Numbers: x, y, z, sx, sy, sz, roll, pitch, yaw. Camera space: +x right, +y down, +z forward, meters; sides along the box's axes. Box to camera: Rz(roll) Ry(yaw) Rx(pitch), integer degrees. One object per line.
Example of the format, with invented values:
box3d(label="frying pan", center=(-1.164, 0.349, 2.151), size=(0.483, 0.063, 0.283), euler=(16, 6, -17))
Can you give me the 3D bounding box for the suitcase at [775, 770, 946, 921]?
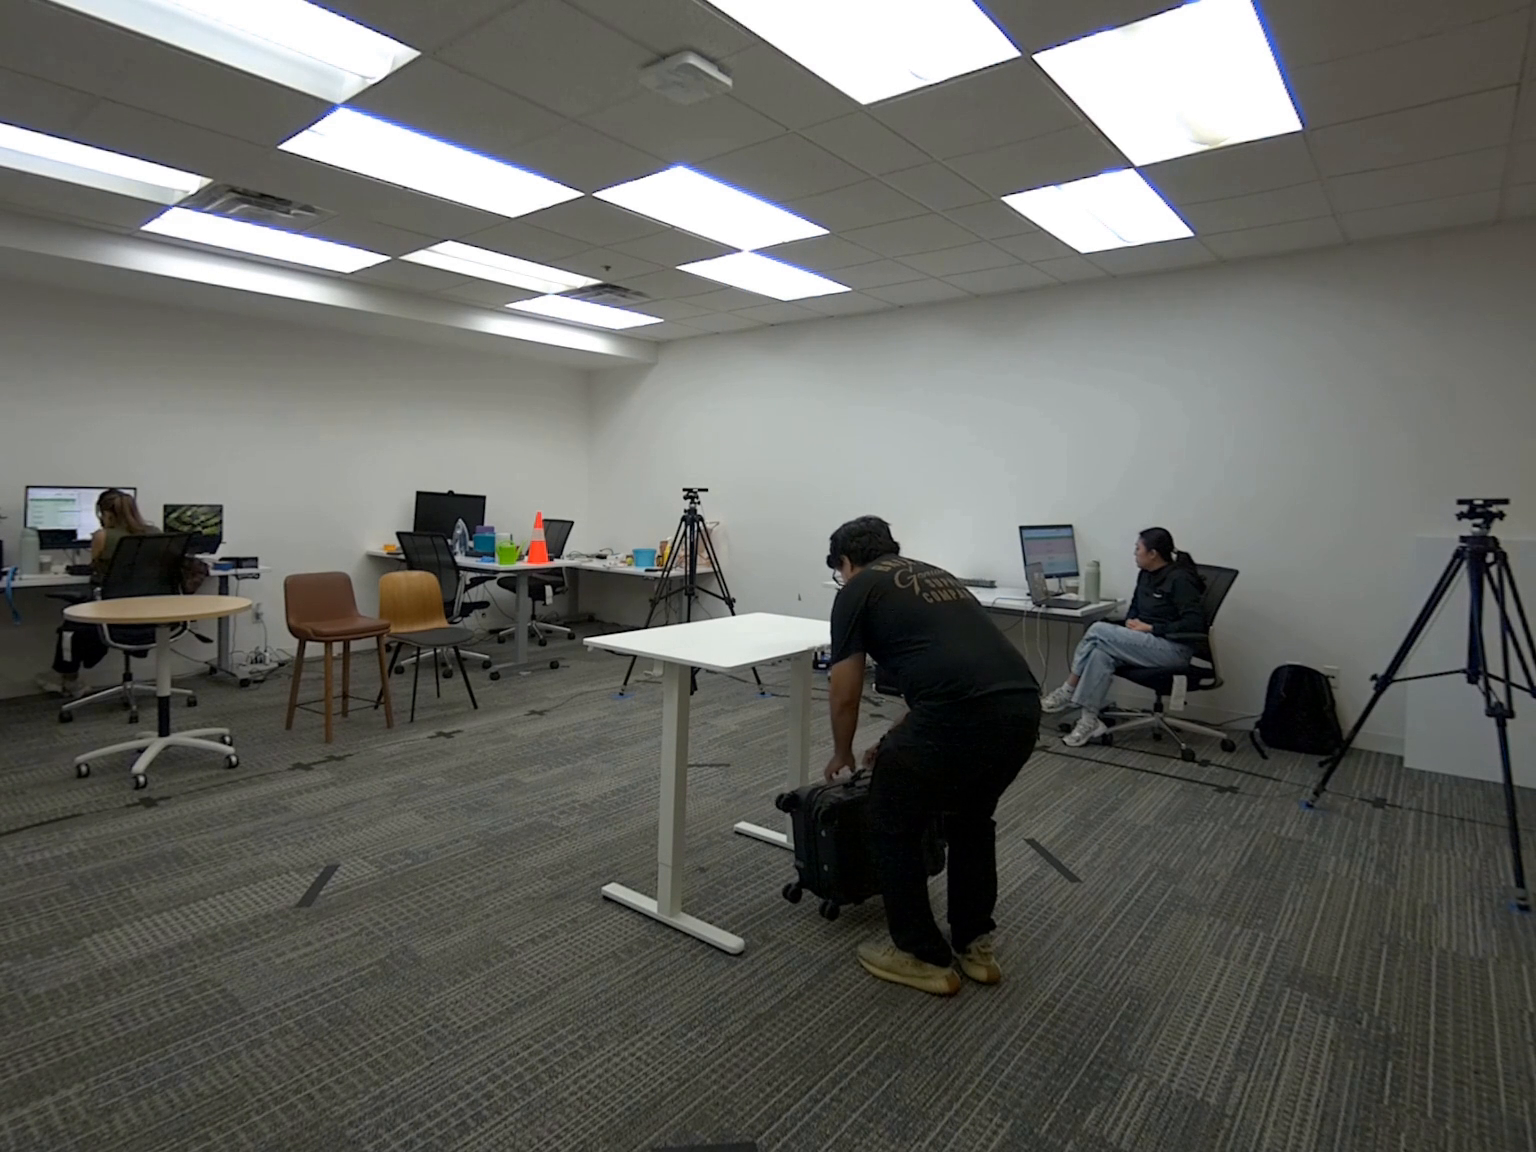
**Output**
box3d(label="suitcase", center=(0.323, 0.855, 2.856), size=(0.535, 0.376, 0.254), euler=(-5, -2, -31))
